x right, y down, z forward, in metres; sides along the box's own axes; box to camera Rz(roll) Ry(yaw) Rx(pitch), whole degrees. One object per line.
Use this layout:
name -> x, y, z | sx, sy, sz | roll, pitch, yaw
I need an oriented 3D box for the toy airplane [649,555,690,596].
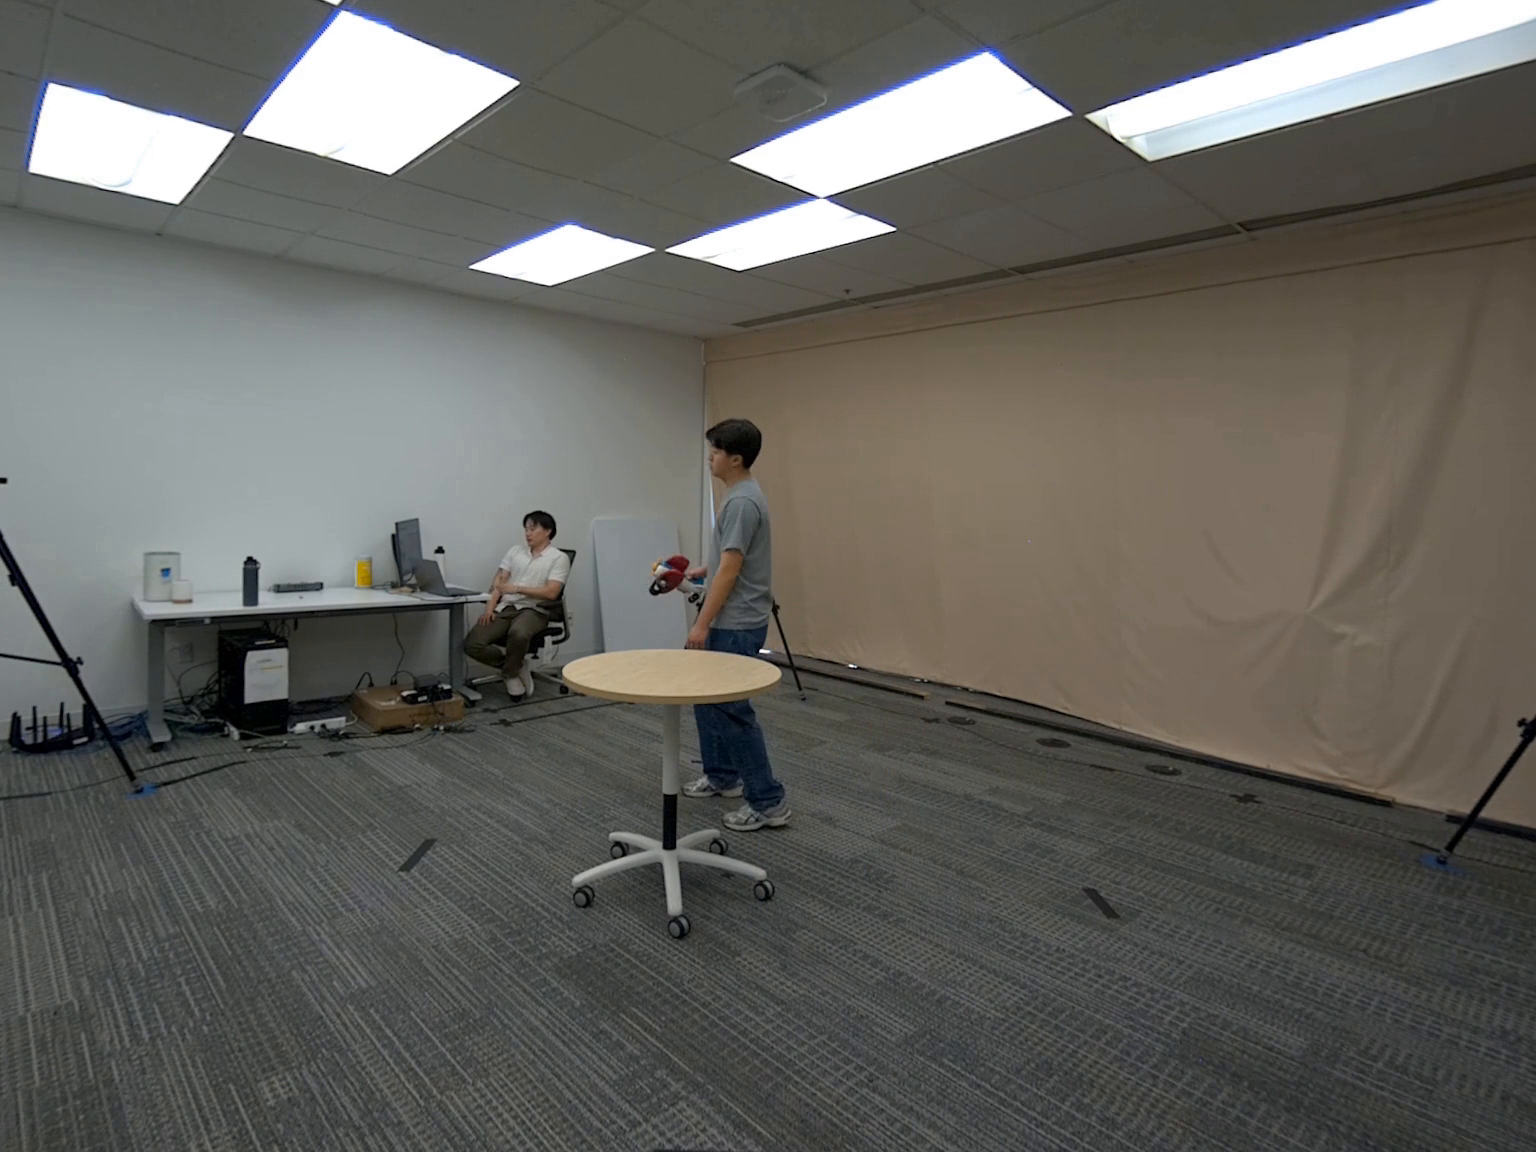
toy airplane -> -0.422, 0.024, 3.849 | 0.255, 0.159, 0.251 | -12, -30, 31
